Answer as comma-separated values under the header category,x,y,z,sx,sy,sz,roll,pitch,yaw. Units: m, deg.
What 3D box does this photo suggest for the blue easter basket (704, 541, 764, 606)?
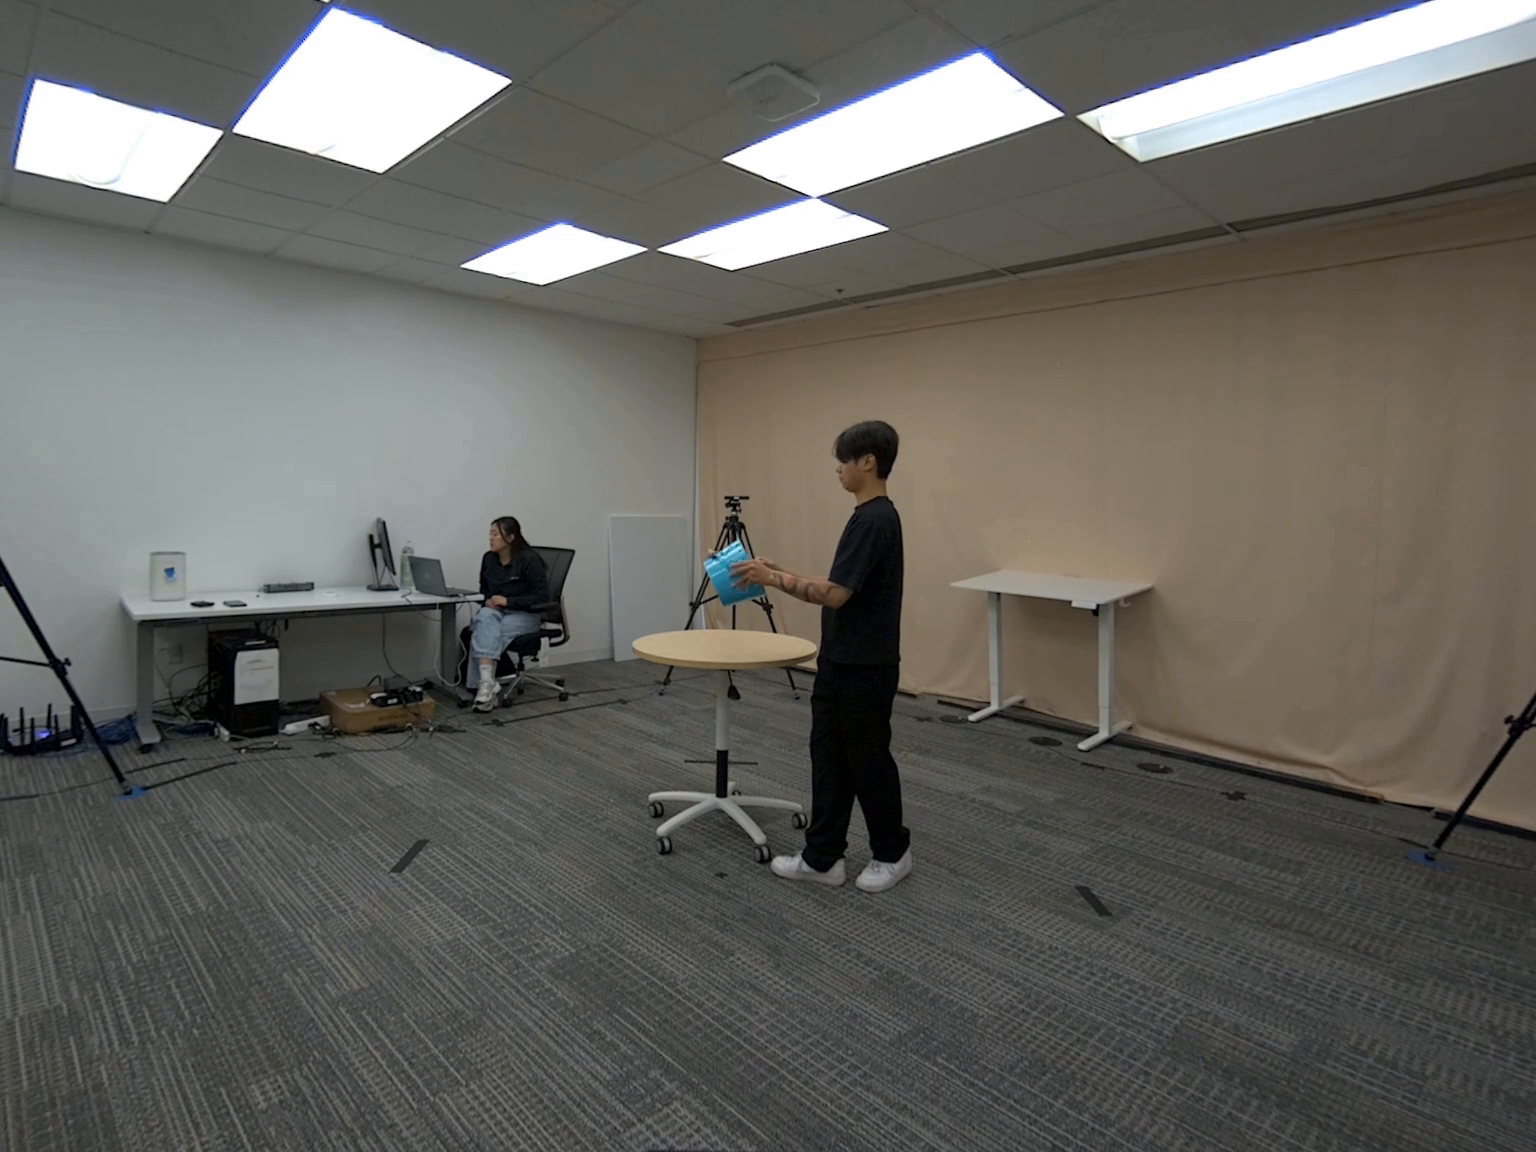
category,x,y,z,sx,sy,sz,roll,pitch,yaw
blue easter basket,-0.133,-0.003,3.023,0.155,0.242,0.245,-23,6,-4
